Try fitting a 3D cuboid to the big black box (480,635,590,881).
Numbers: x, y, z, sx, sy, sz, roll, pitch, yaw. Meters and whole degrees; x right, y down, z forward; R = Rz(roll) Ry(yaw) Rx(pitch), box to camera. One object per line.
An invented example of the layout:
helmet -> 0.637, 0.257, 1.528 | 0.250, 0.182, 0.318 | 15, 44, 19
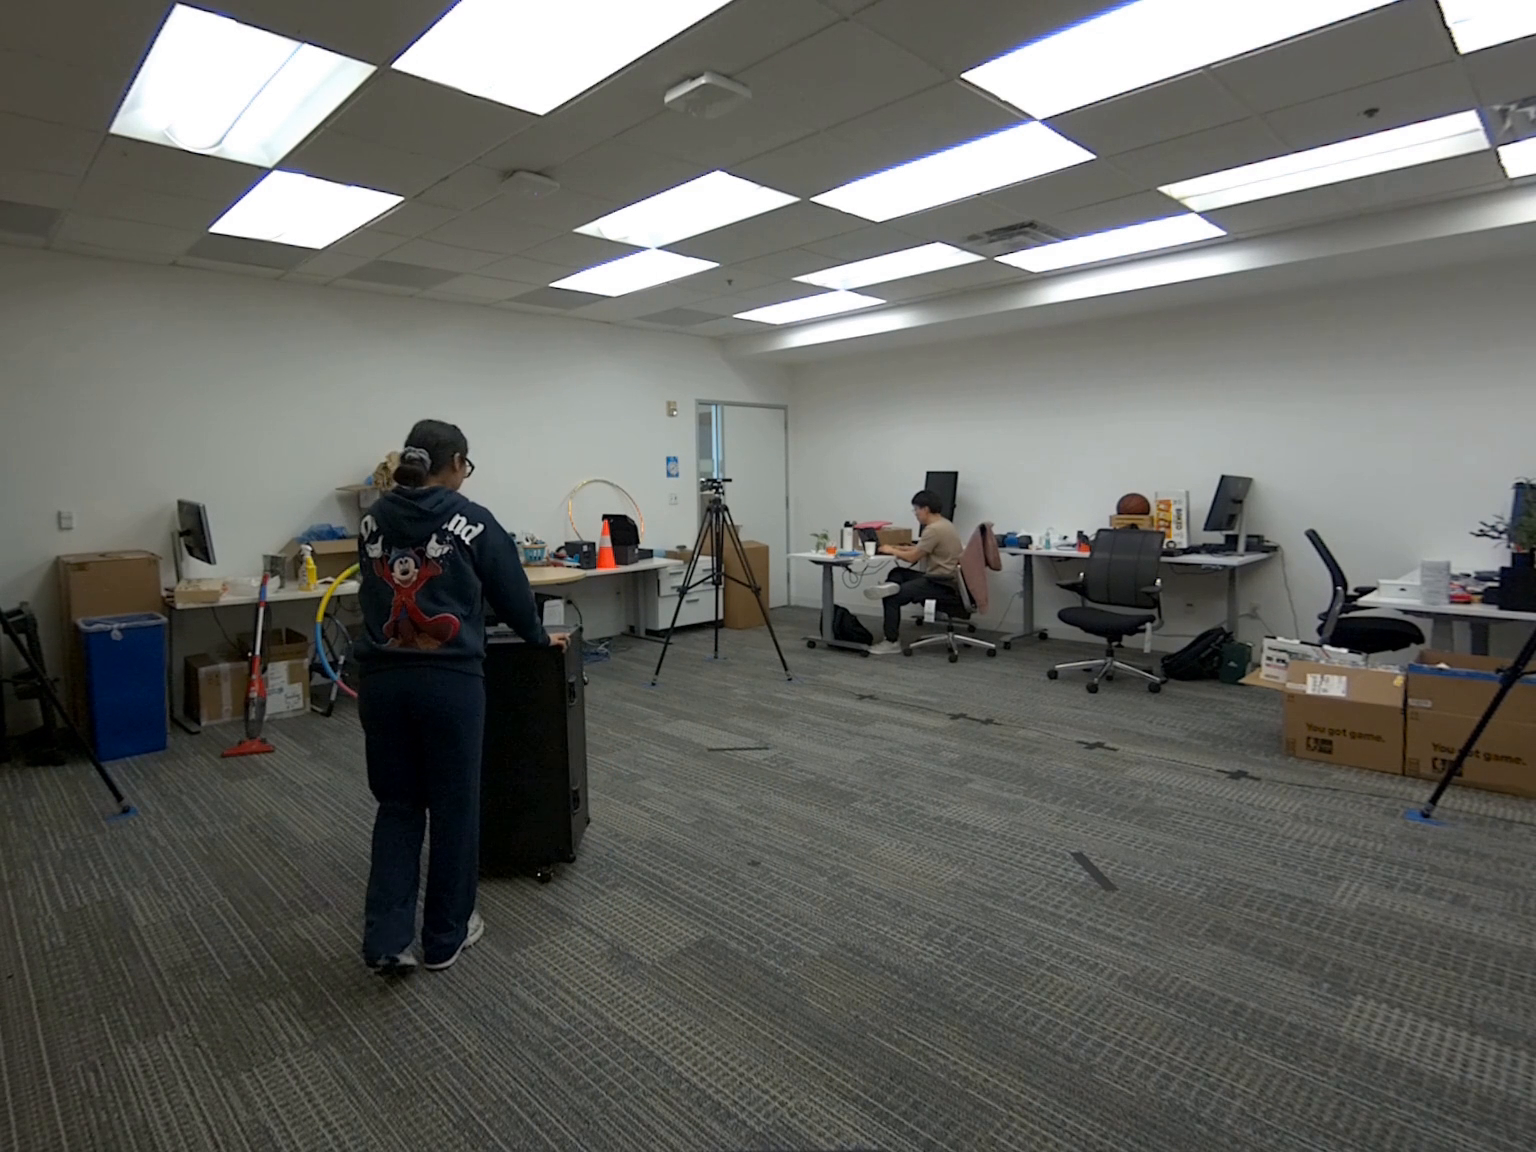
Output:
big black box -> -0.938, 0.632, 3.146 | 0.522, 0.859, 0.397 | -2, 3, 0
